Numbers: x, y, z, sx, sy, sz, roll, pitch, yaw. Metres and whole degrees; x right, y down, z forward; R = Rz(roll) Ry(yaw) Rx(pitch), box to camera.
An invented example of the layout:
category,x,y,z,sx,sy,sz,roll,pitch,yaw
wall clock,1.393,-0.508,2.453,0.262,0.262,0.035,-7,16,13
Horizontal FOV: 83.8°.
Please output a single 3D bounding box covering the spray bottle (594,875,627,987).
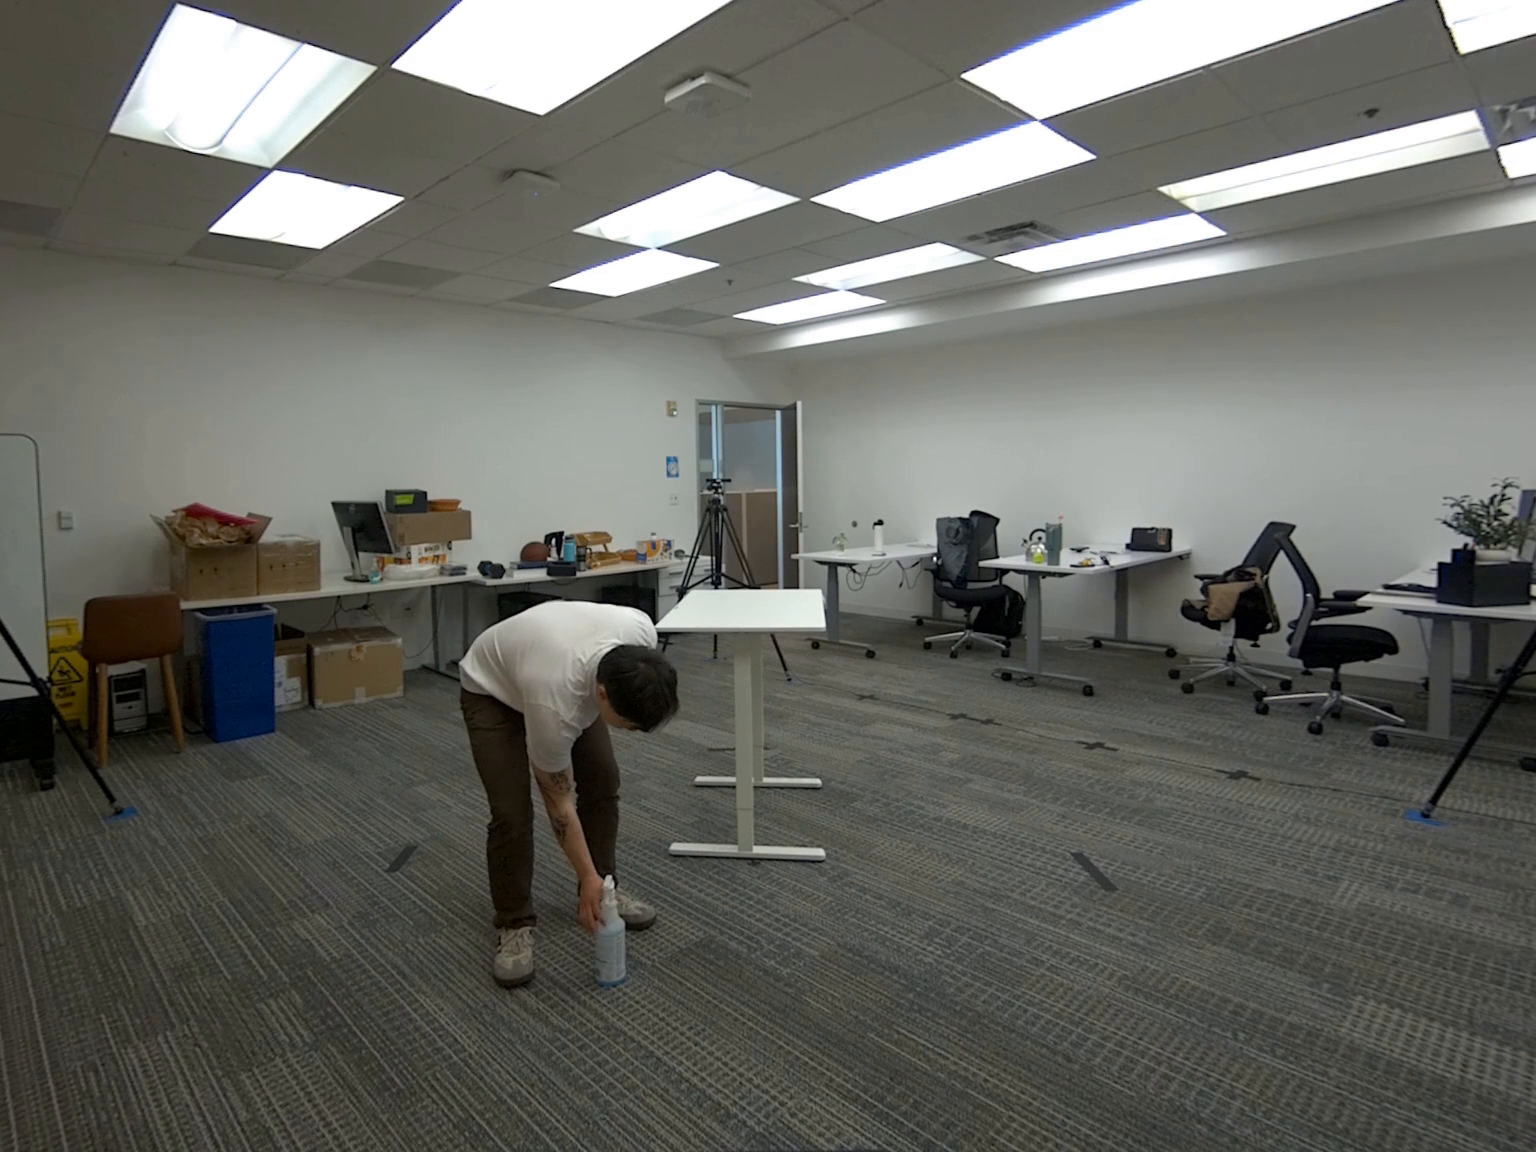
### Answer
category,x,y,z,sx,sy,sz,roll,pitch,yaw
spray bottle,-0.444,0.986,2.394,0.089,0.296,0.089,1,6,20
